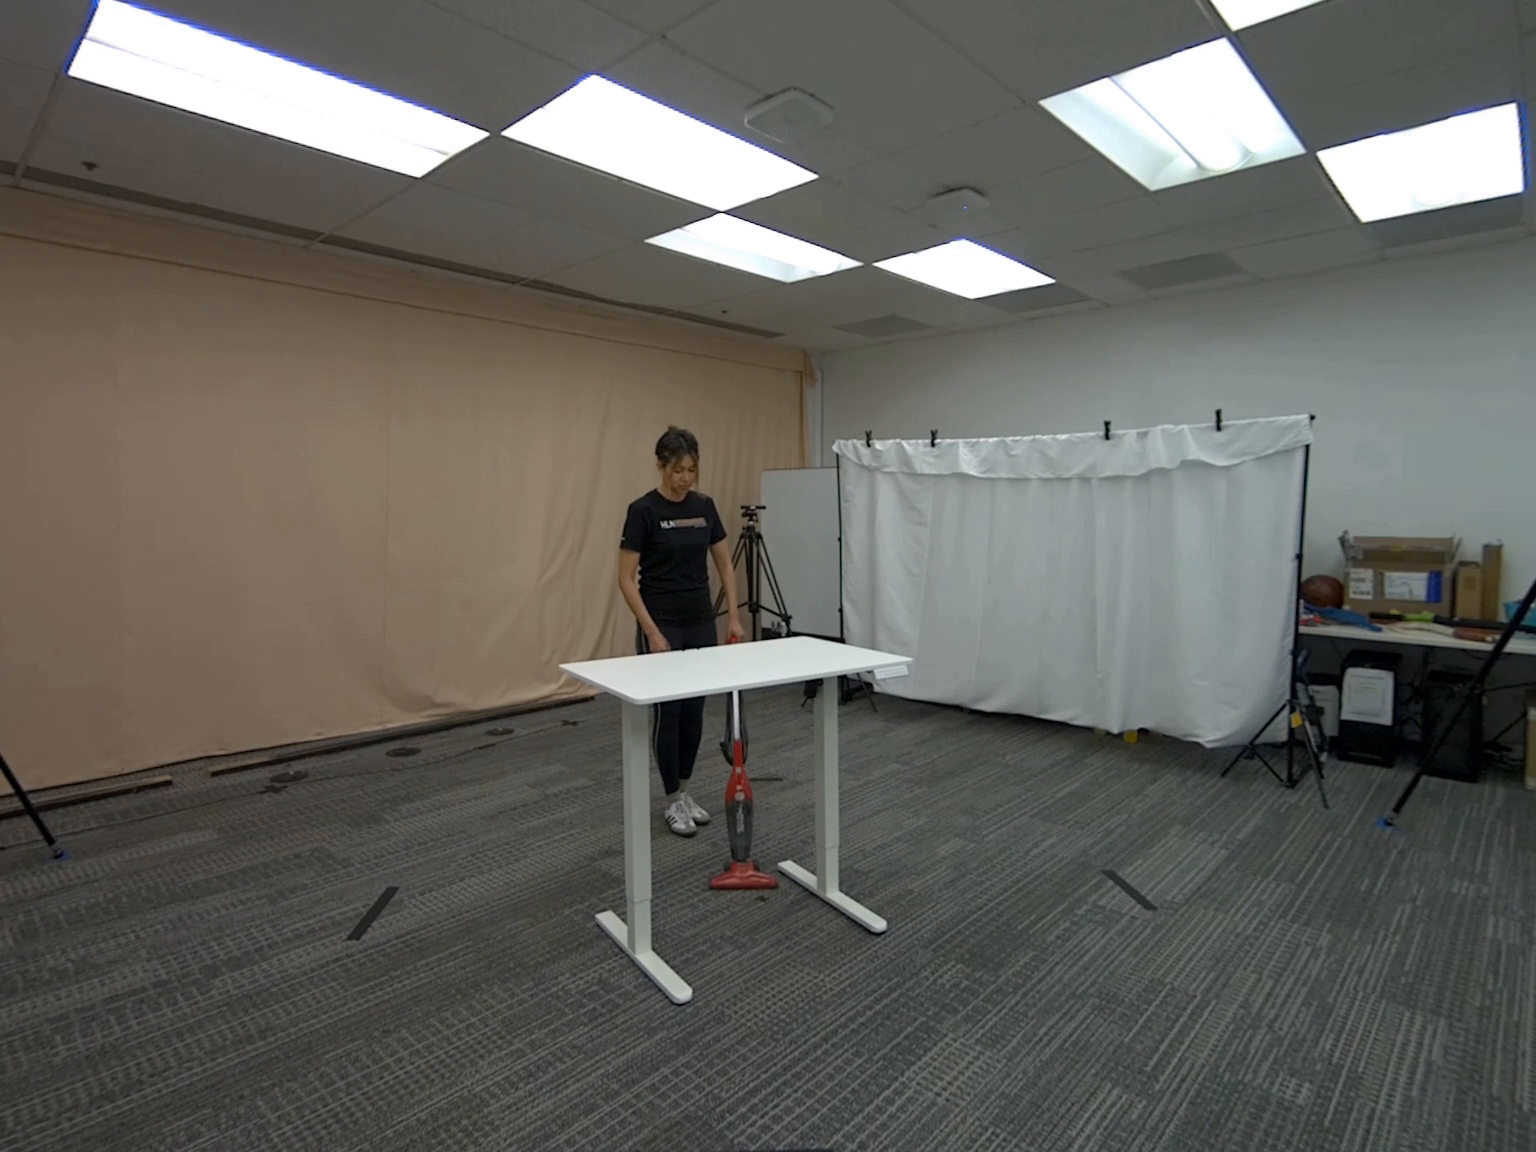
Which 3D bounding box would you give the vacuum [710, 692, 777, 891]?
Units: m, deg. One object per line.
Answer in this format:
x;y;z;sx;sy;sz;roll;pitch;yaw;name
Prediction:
-0.121;0.691;3.422;0.252;1.069;0.141;-2;-37;-2;vacuum
